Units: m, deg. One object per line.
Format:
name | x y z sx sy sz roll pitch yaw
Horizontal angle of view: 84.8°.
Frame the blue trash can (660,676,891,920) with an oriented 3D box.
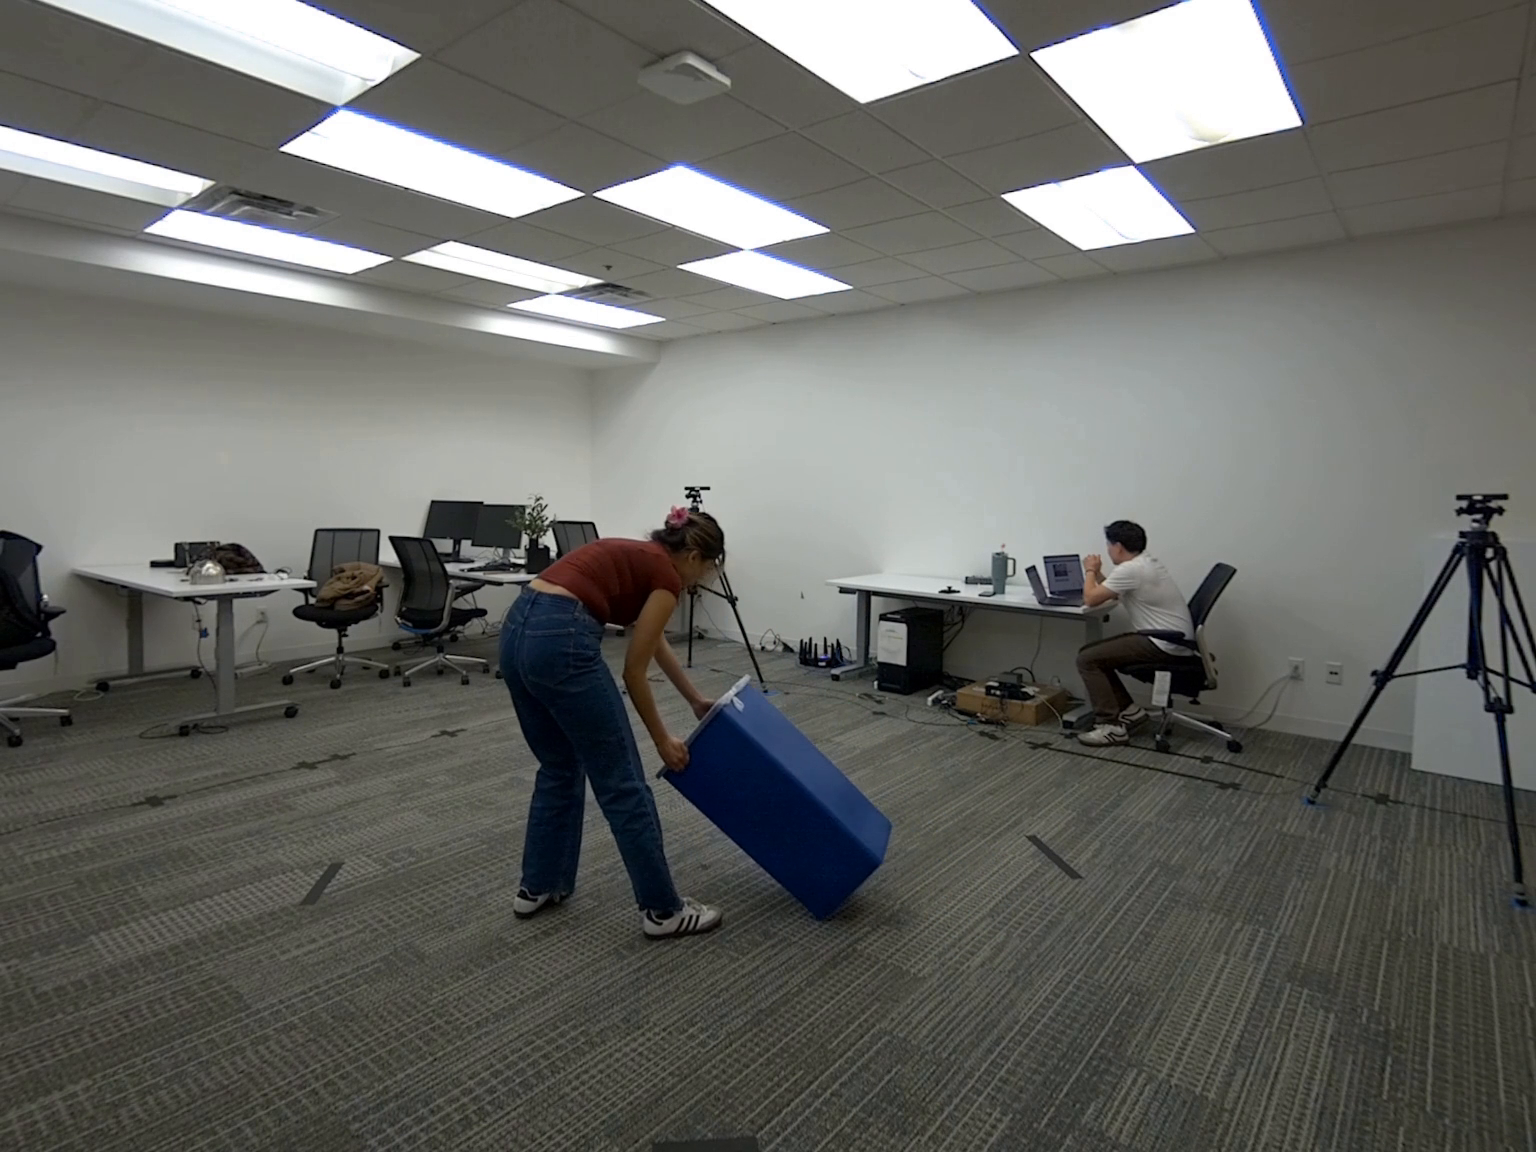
blue trash can | 0.026 0.750 2.896 0.724 0.374 0.373 43 16 9
